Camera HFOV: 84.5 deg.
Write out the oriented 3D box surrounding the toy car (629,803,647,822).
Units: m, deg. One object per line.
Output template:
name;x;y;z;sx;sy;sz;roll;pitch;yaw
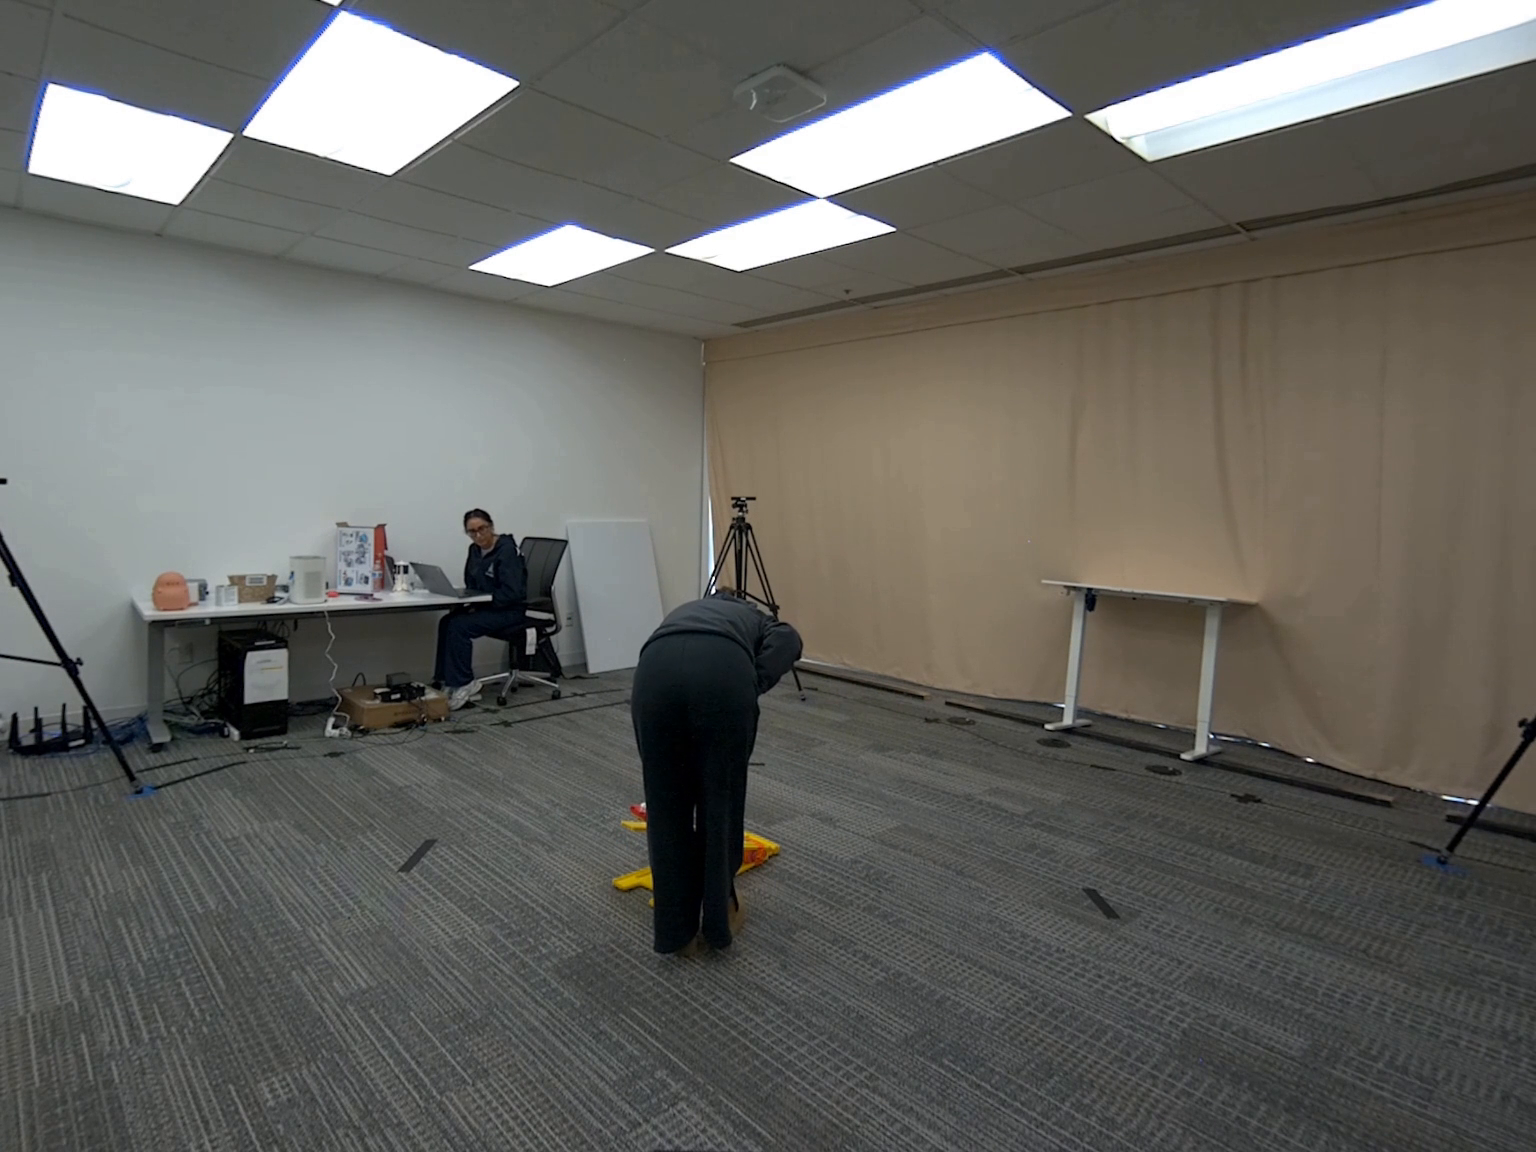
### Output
toy car;-0.387;0.859;2.976;0.134;0.083;0.246;12;-16;46
